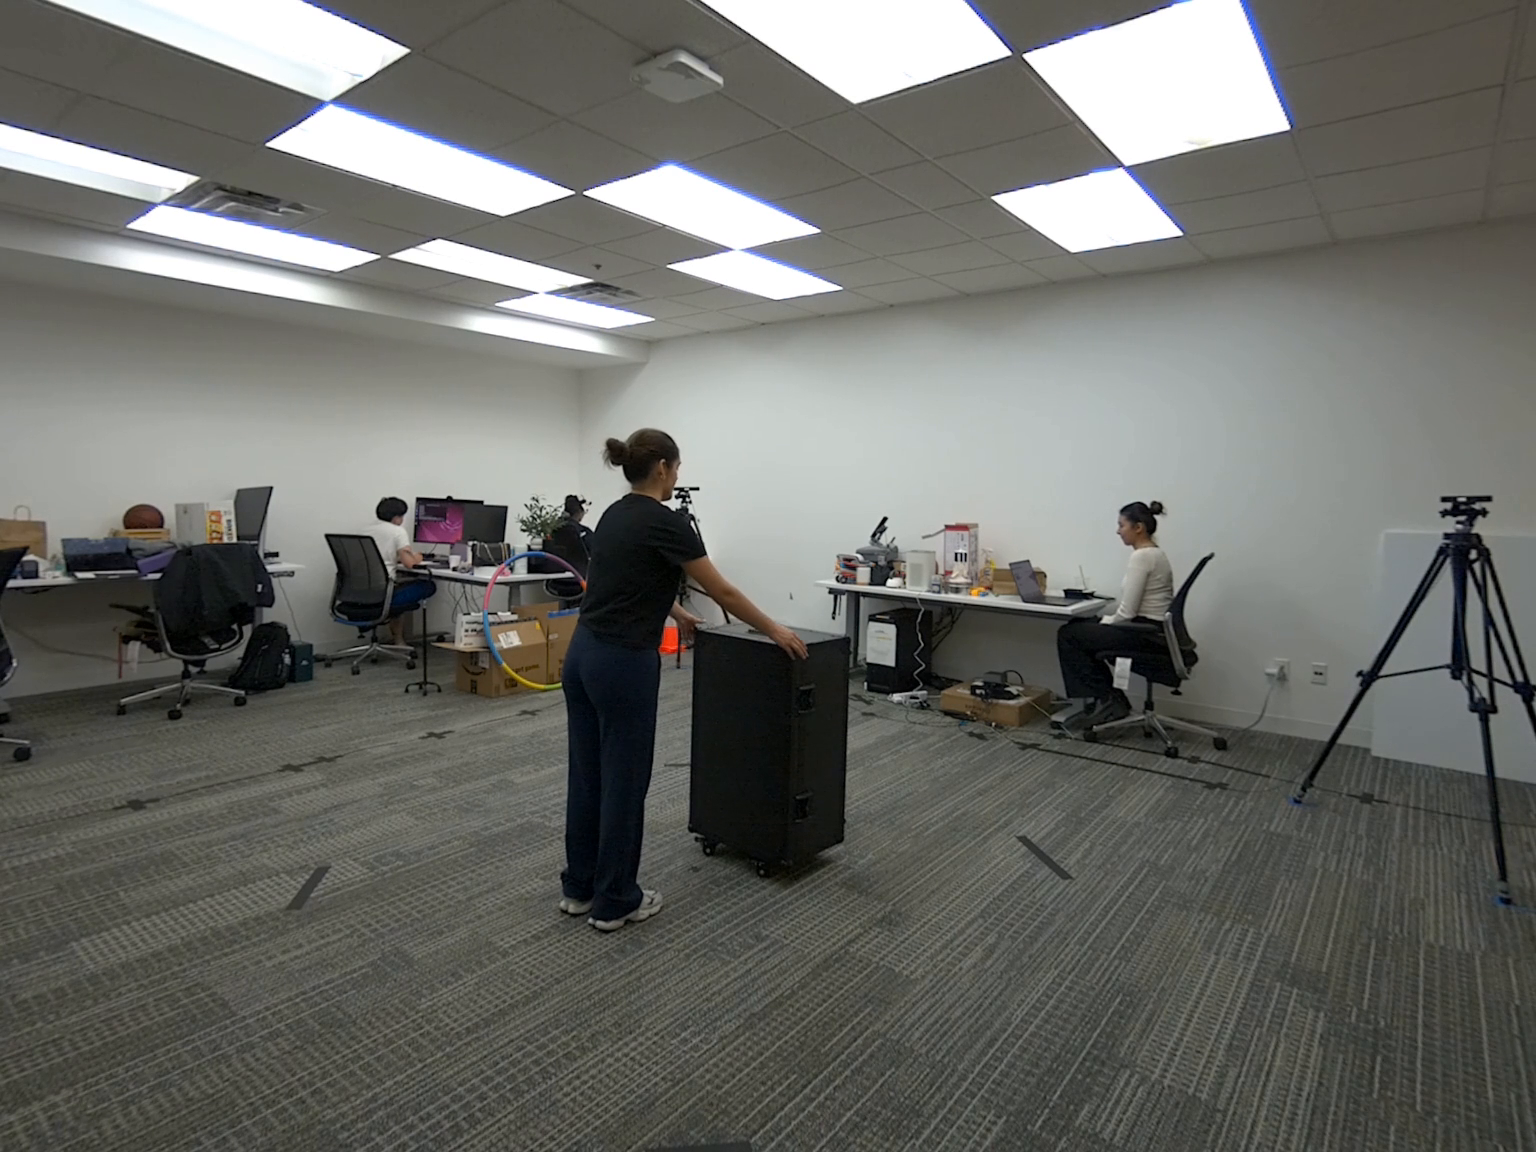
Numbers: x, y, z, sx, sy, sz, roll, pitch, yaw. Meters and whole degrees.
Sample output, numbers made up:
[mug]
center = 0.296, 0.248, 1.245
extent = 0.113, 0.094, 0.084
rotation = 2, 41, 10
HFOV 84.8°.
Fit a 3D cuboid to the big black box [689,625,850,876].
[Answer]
[big black box]
center = 0.014, 0.631, 3.241
extent = 0.539, 0.860, 0.384
rotation = 4, 2, 42
